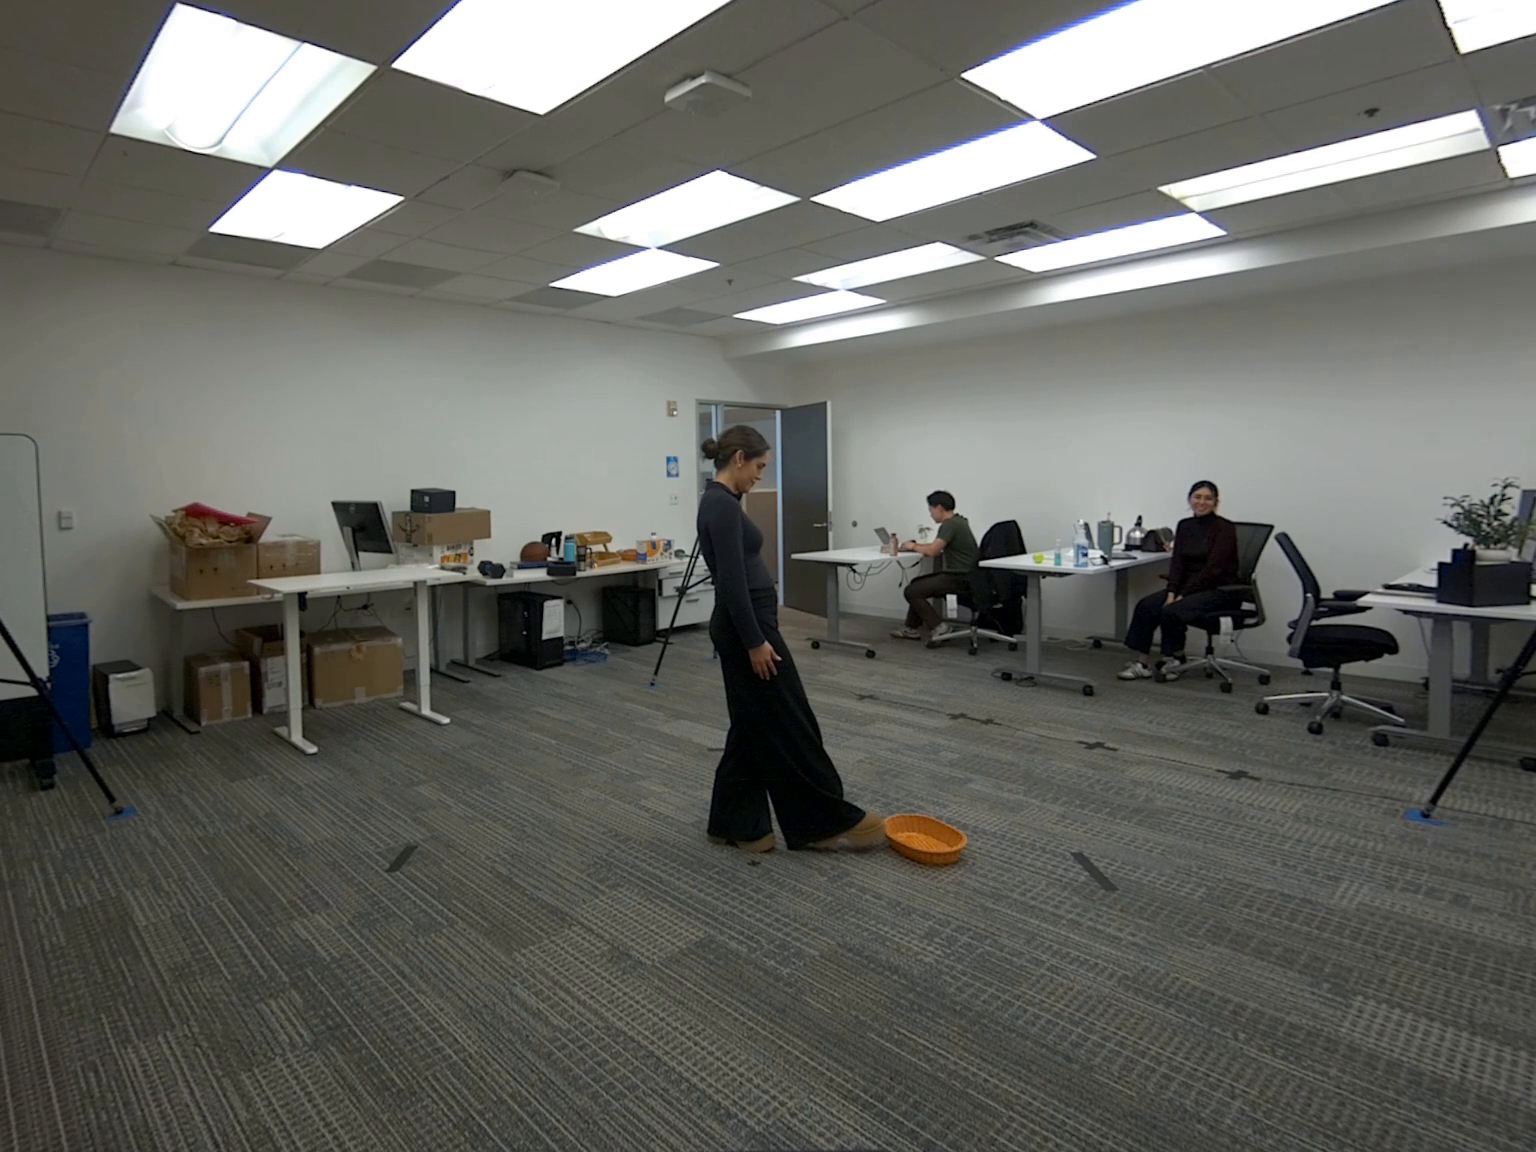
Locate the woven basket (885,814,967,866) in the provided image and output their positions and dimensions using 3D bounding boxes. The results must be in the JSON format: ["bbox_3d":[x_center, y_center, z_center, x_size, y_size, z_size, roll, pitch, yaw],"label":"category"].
[{"bbox_3d":[0.571,0.980,3.187,0.247,0.073,0.360,-6,8,-28],"label":"woven basket"}]
